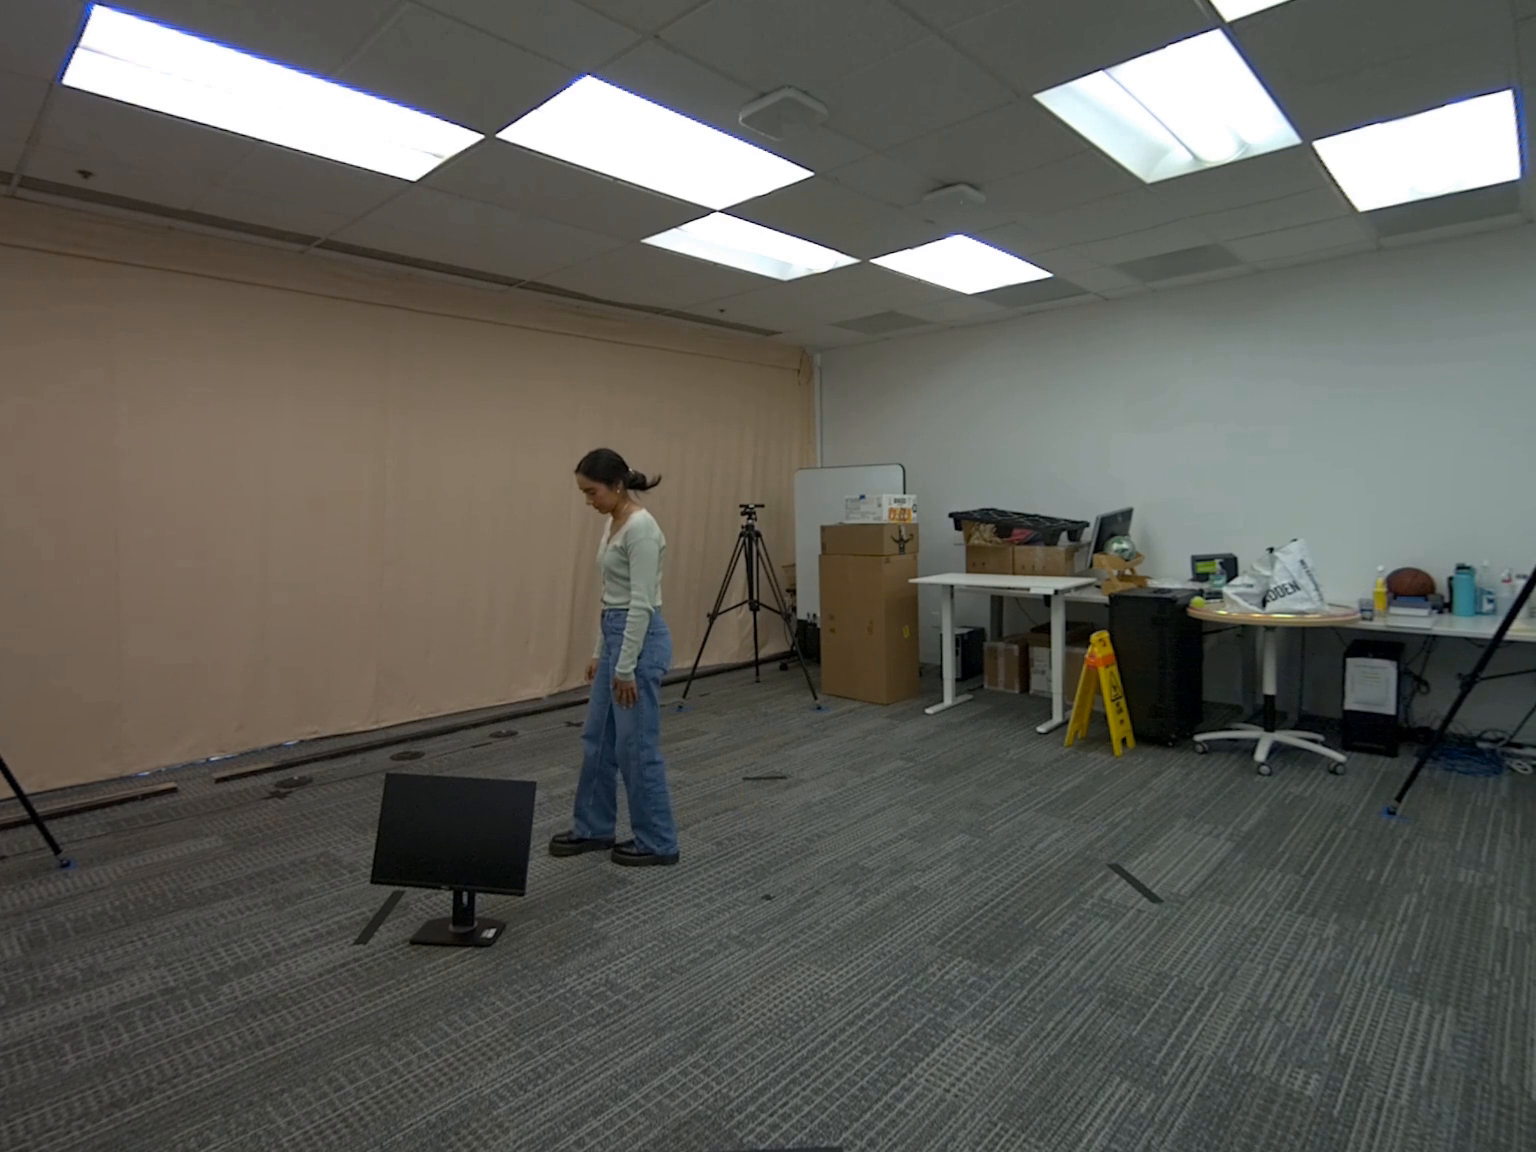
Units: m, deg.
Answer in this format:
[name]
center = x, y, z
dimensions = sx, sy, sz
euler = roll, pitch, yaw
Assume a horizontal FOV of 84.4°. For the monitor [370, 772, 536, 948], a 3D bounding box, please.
[monitor]
center = -1.030, 0.918, 2.772
dimensions = 0.535, 0.515, 0.173
euler = 1, 4, 8
